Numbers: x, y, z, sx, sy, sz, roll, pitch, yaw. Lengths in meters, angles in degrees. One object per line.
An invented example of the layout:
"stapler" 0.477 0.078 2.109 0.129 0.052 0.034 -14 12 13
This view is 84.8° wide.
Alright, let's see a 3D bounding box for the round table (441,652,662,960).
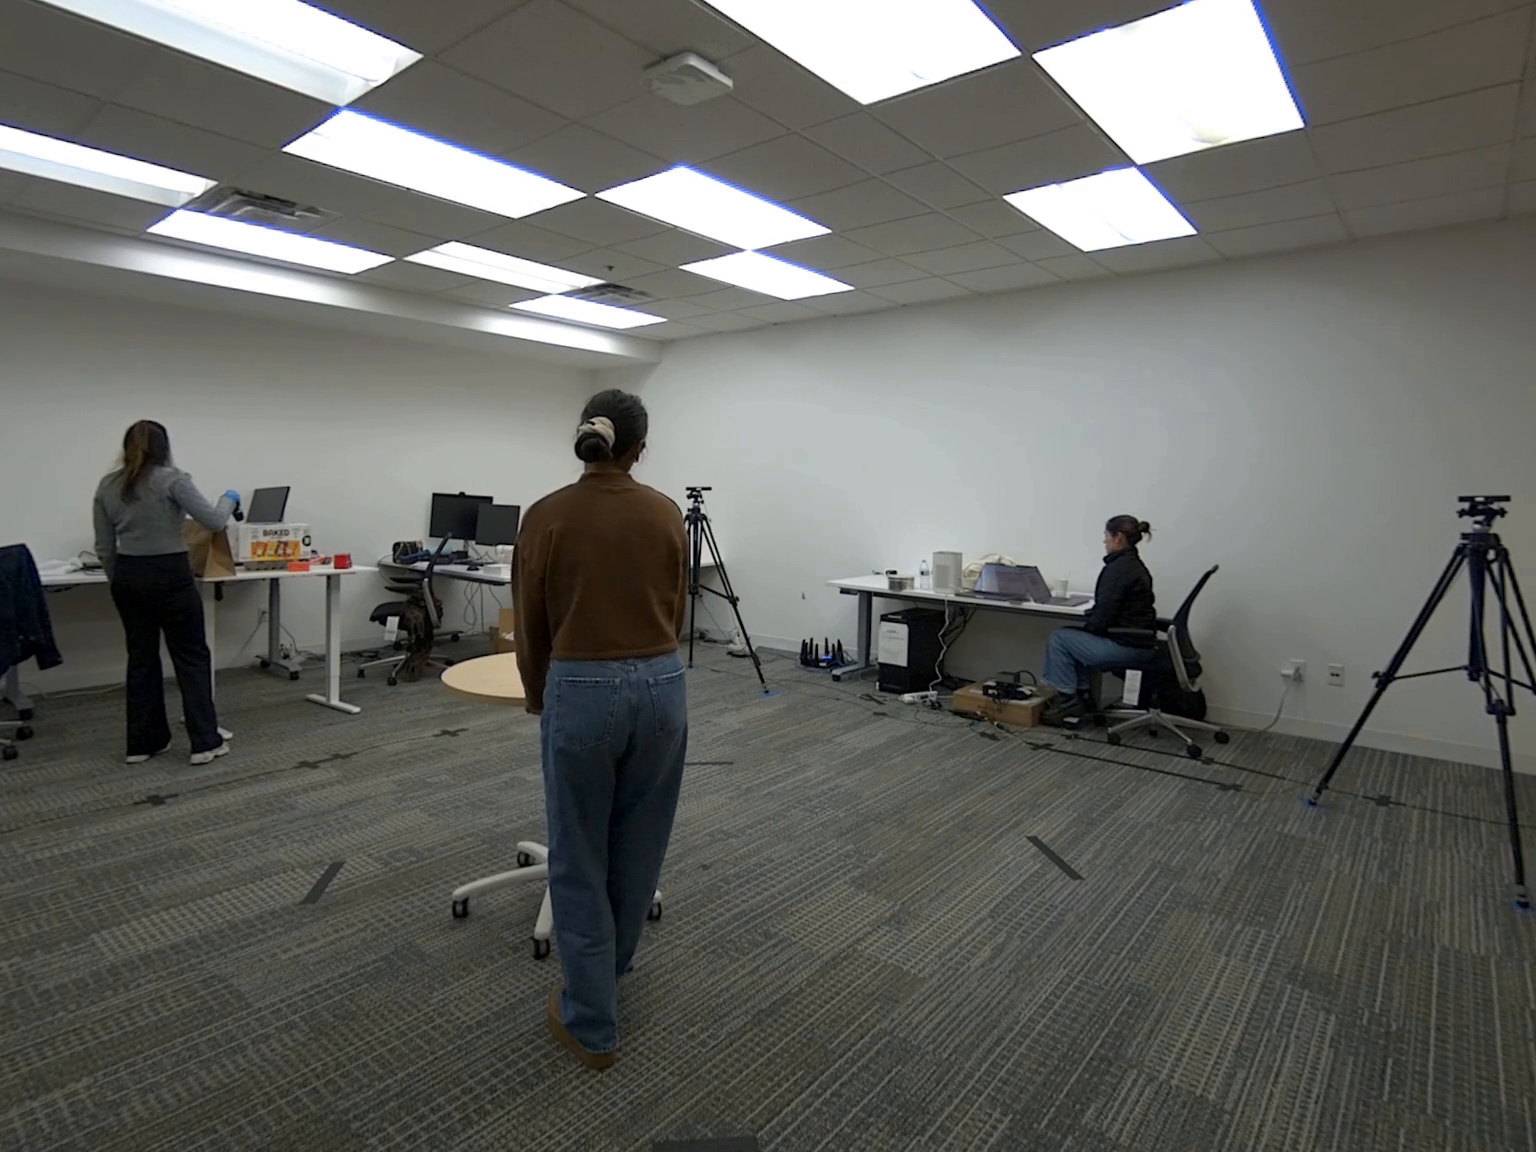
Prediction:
"round table" -0.680 0.701 2.803 0.763 0.791 0.768 0 4 -2
